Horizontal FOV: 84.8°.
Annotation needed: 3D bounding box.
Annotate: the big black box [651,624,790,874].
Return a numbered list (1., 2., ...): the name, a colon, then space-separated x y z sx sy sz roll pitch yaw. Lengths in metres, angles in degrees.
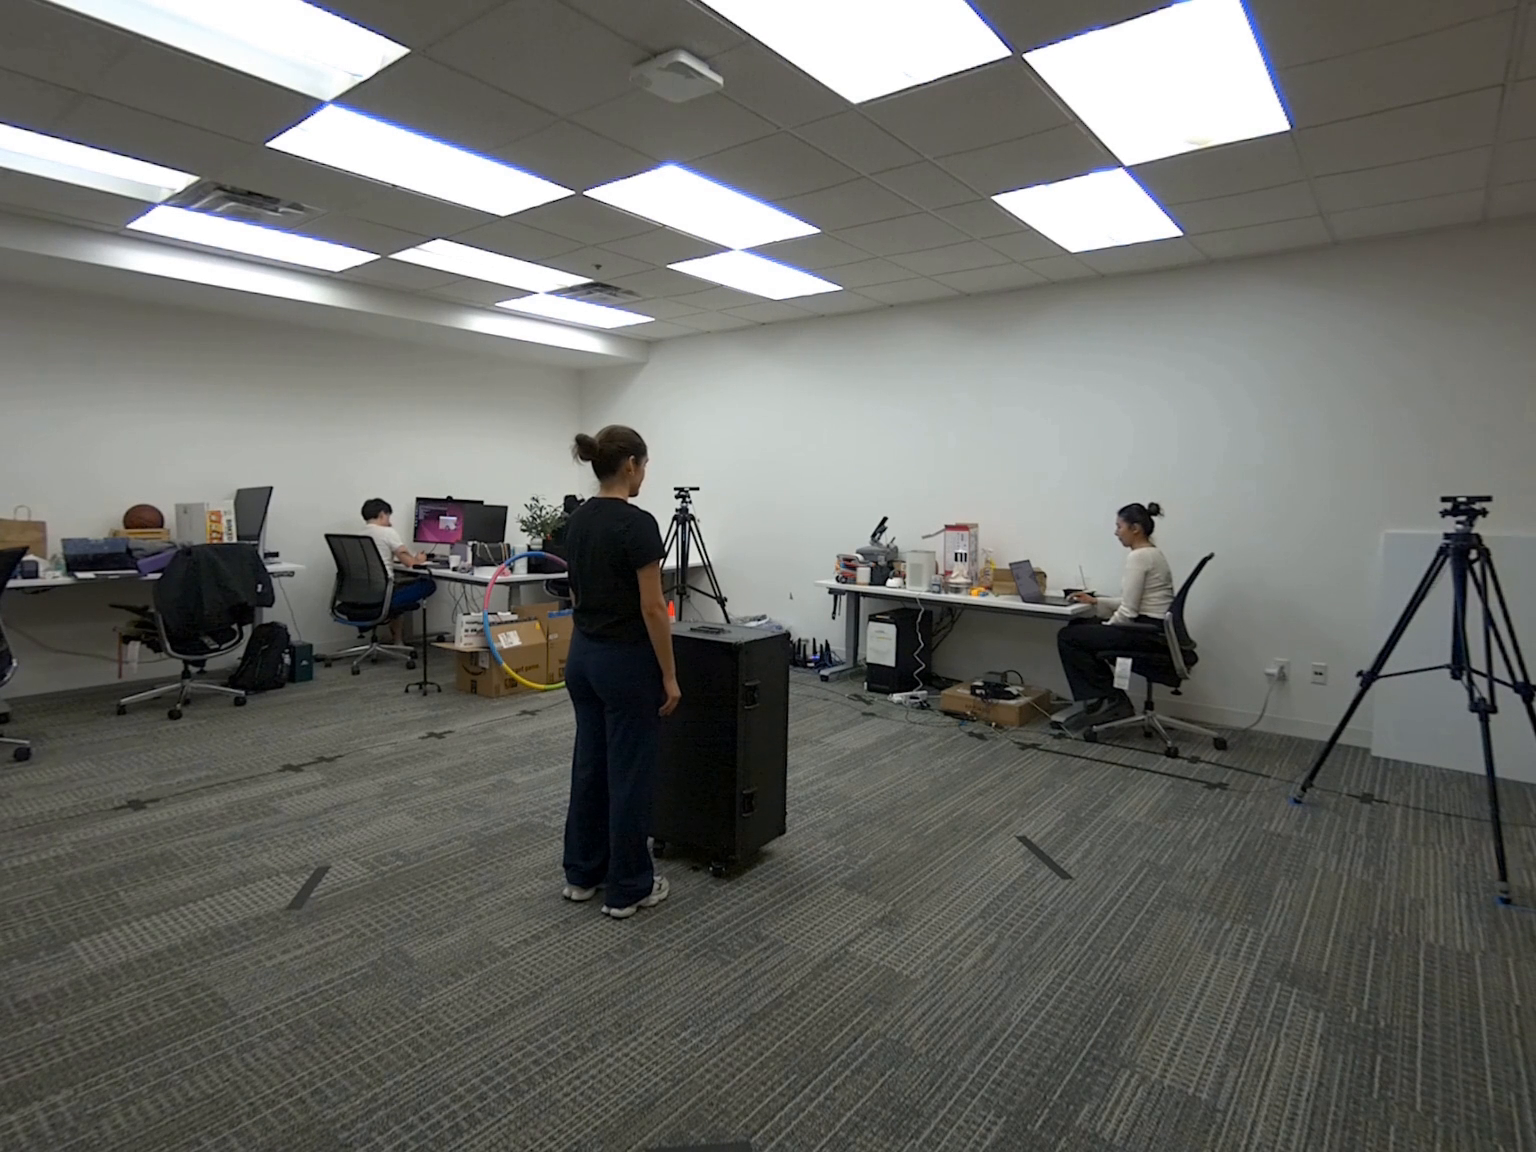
1. big black box: -0.200 0.626 3.273 0.538 0.860 0.384 3 2 35
